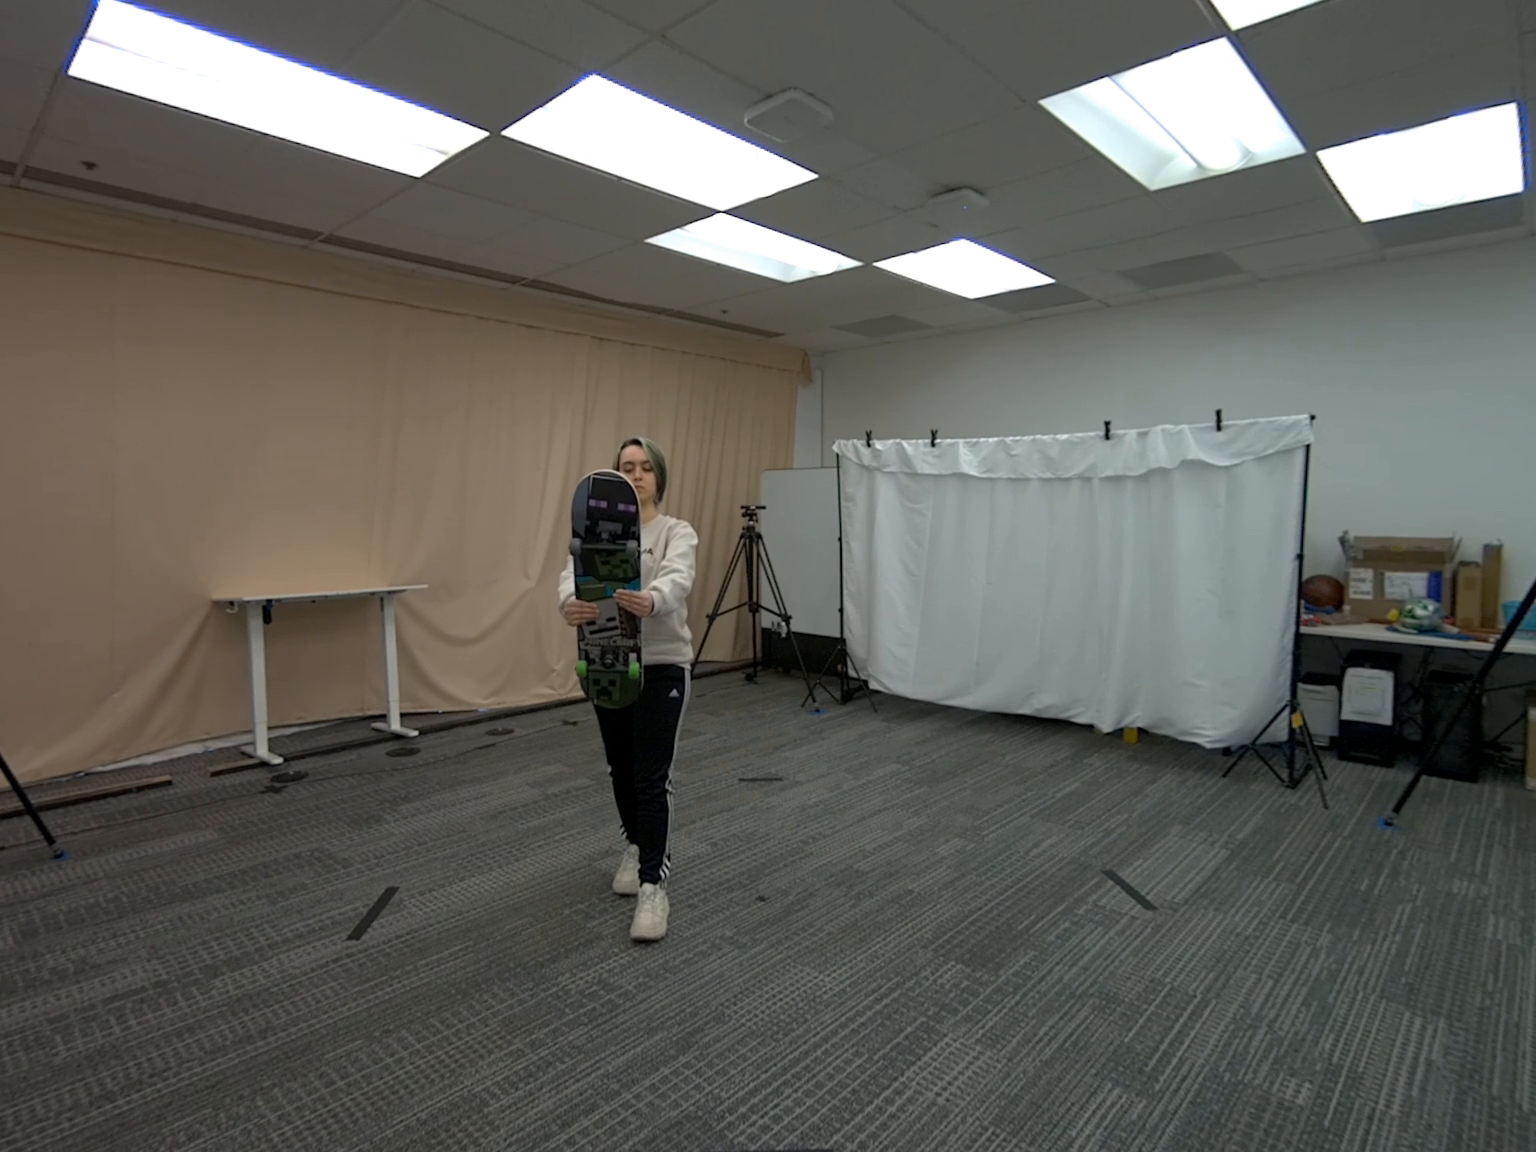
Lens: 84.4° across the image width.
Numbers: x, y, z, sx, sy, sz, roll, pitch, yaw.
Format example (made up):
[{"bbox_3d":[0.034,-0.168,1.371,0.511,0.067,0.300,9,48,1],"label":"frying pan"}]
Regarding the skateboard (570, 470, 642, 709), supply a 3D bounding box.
[{"bbox_3d":[-0.458,0.089,2.407,0.193,0.775,0.112,3,27,-3],"label":"skateboard"}]
